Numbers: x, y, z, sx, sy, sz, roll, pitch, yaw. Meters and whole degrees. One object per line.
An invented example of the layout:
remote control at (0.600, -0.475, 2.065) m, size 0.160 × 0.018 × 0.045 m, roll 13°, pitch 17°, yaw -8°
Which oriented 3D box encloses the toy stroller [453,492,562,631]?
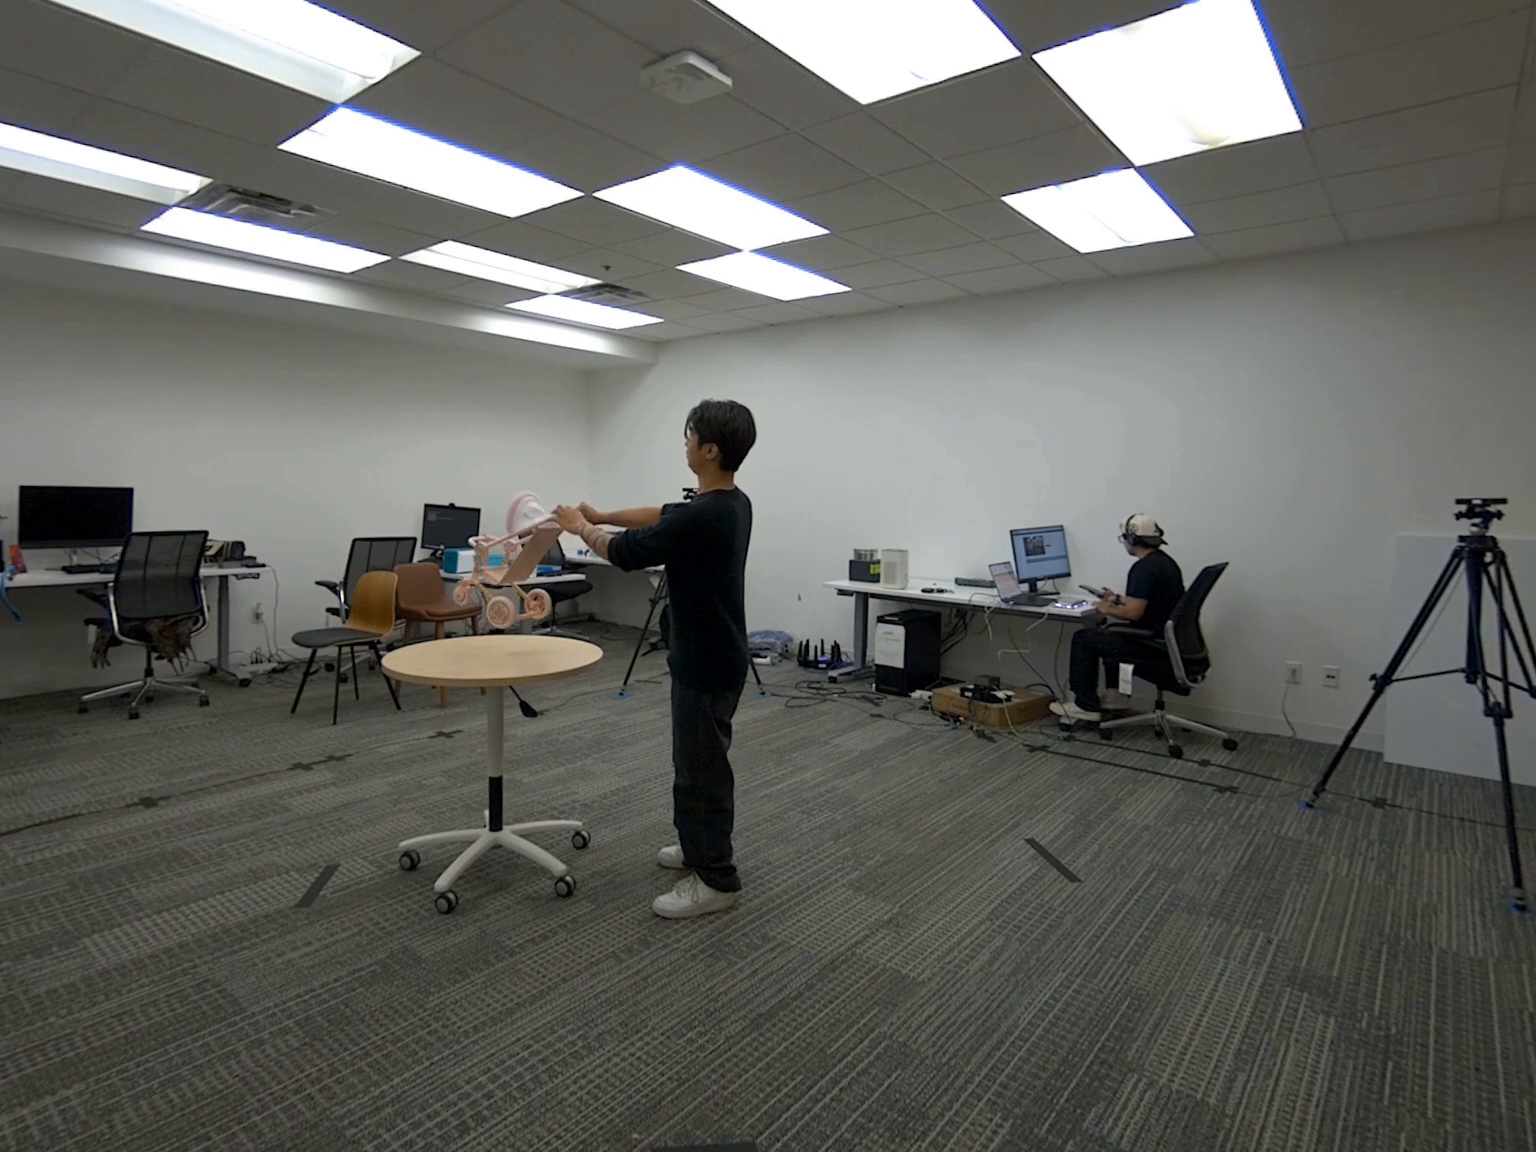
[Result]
toy stroller at (-0.926, -0.069, 3.046) m, size 0.350 × 0.532 × 0.275 m, roll 28°, pitch 11°, yaw 18°
